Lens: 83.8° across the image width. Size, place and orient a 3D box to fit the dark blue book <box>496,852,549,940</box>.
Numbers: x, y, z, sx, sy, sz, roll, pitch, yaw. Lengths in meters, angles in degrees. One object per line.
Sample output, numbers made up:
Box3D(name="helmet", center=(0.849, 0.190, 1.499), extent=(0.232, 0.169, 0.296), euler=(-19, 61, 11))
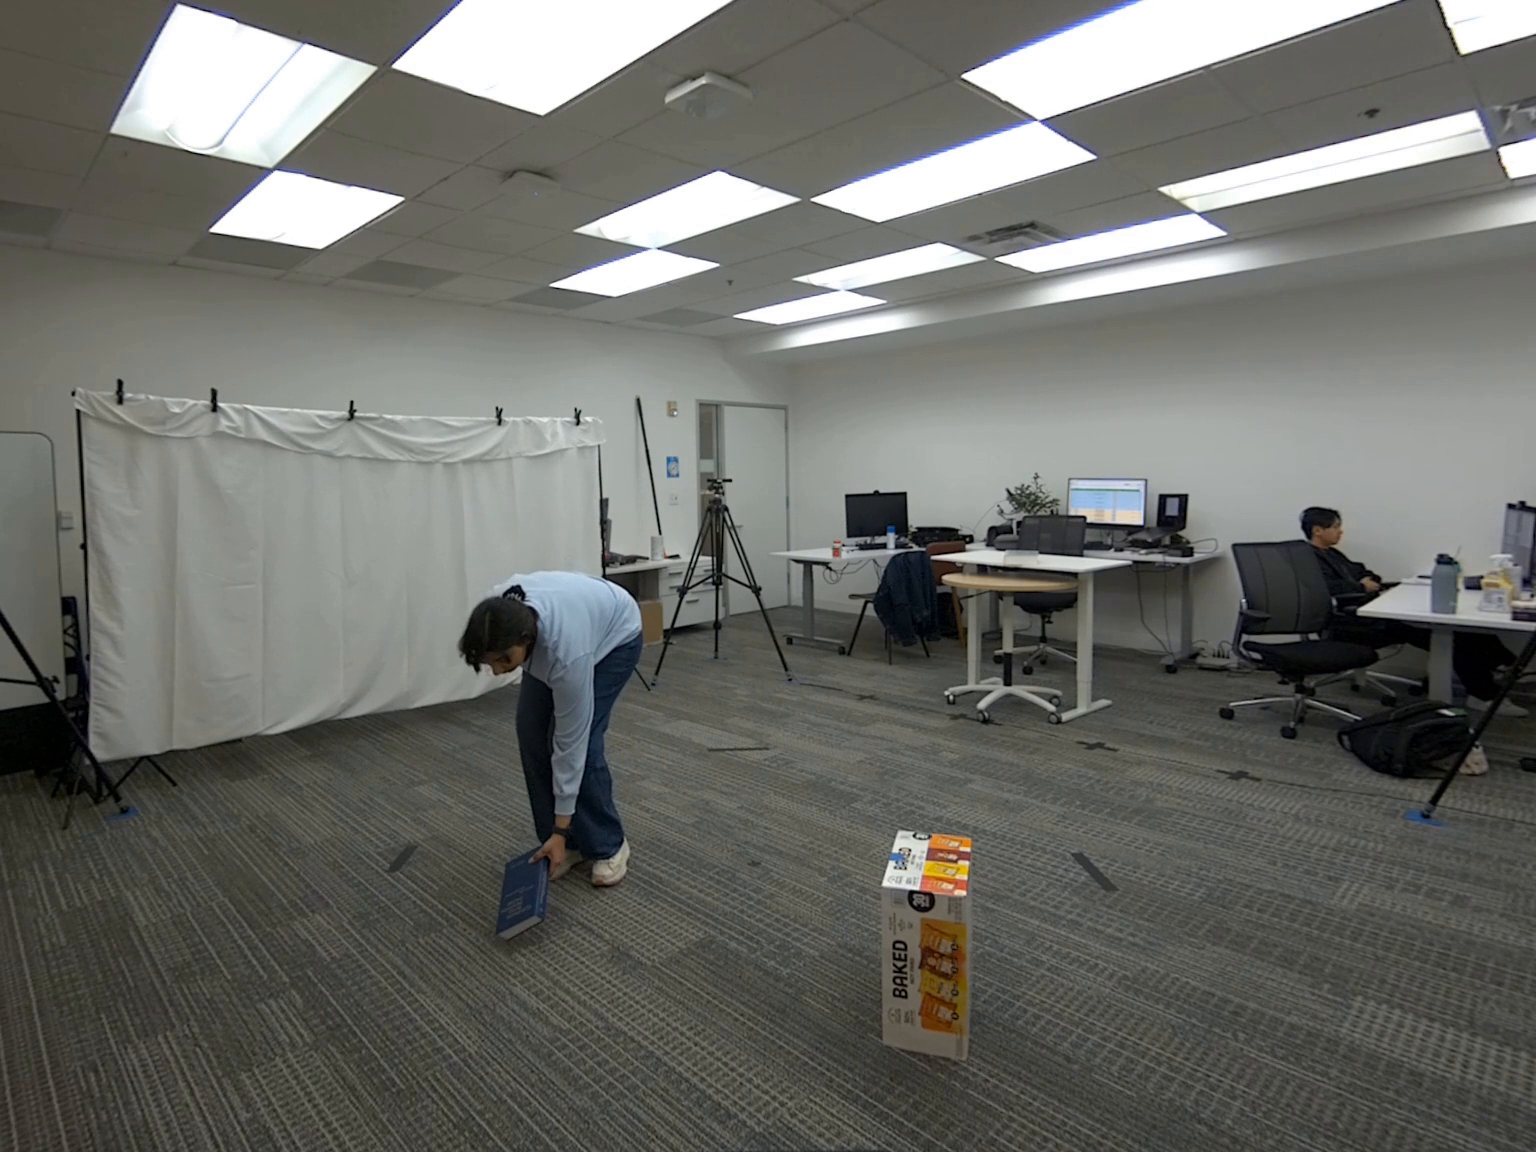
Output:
Box3D(name="dark blue book", center=(-0.753, 0.976, 2.651), extent=(0.164, 0.043, 0.252), euler=(-32, 34, 16))
